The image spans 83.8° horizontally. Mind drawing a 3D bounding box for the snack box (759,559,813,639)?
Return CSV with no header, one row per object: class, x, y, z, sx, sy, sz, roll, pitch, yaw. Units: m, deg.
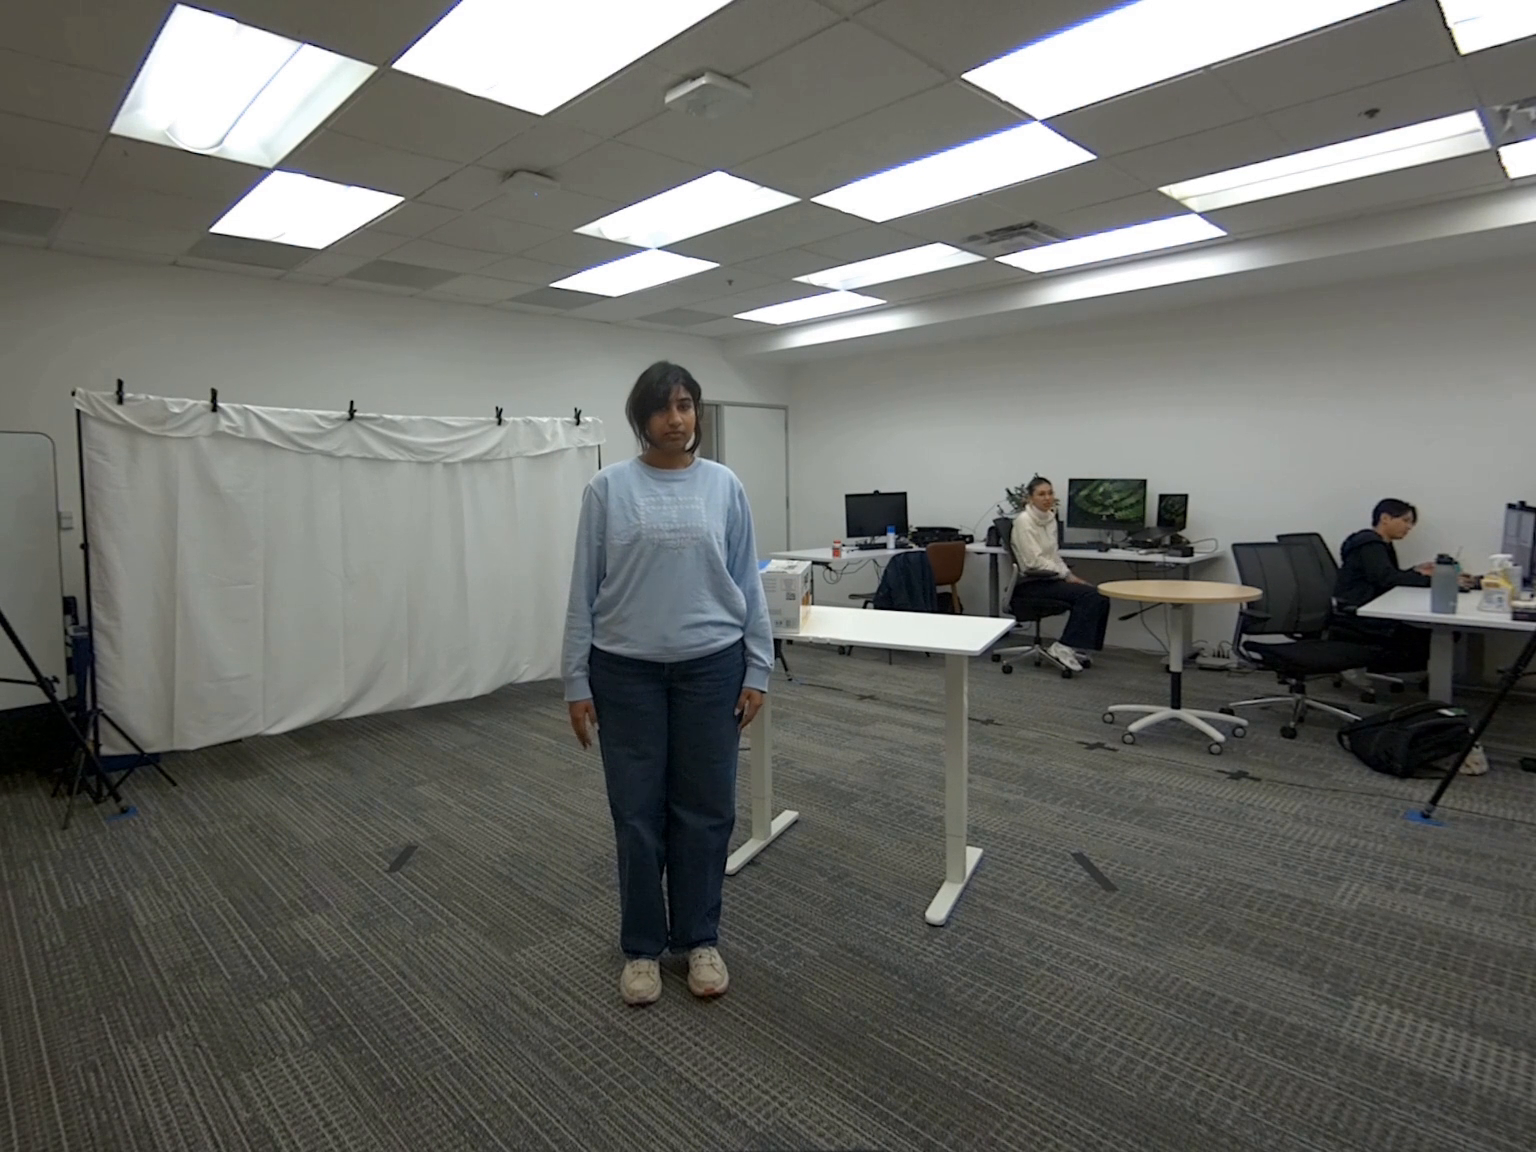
snack box,-0.037,0.066,3.048,0.344,0.205,0.403,-1,6,10
